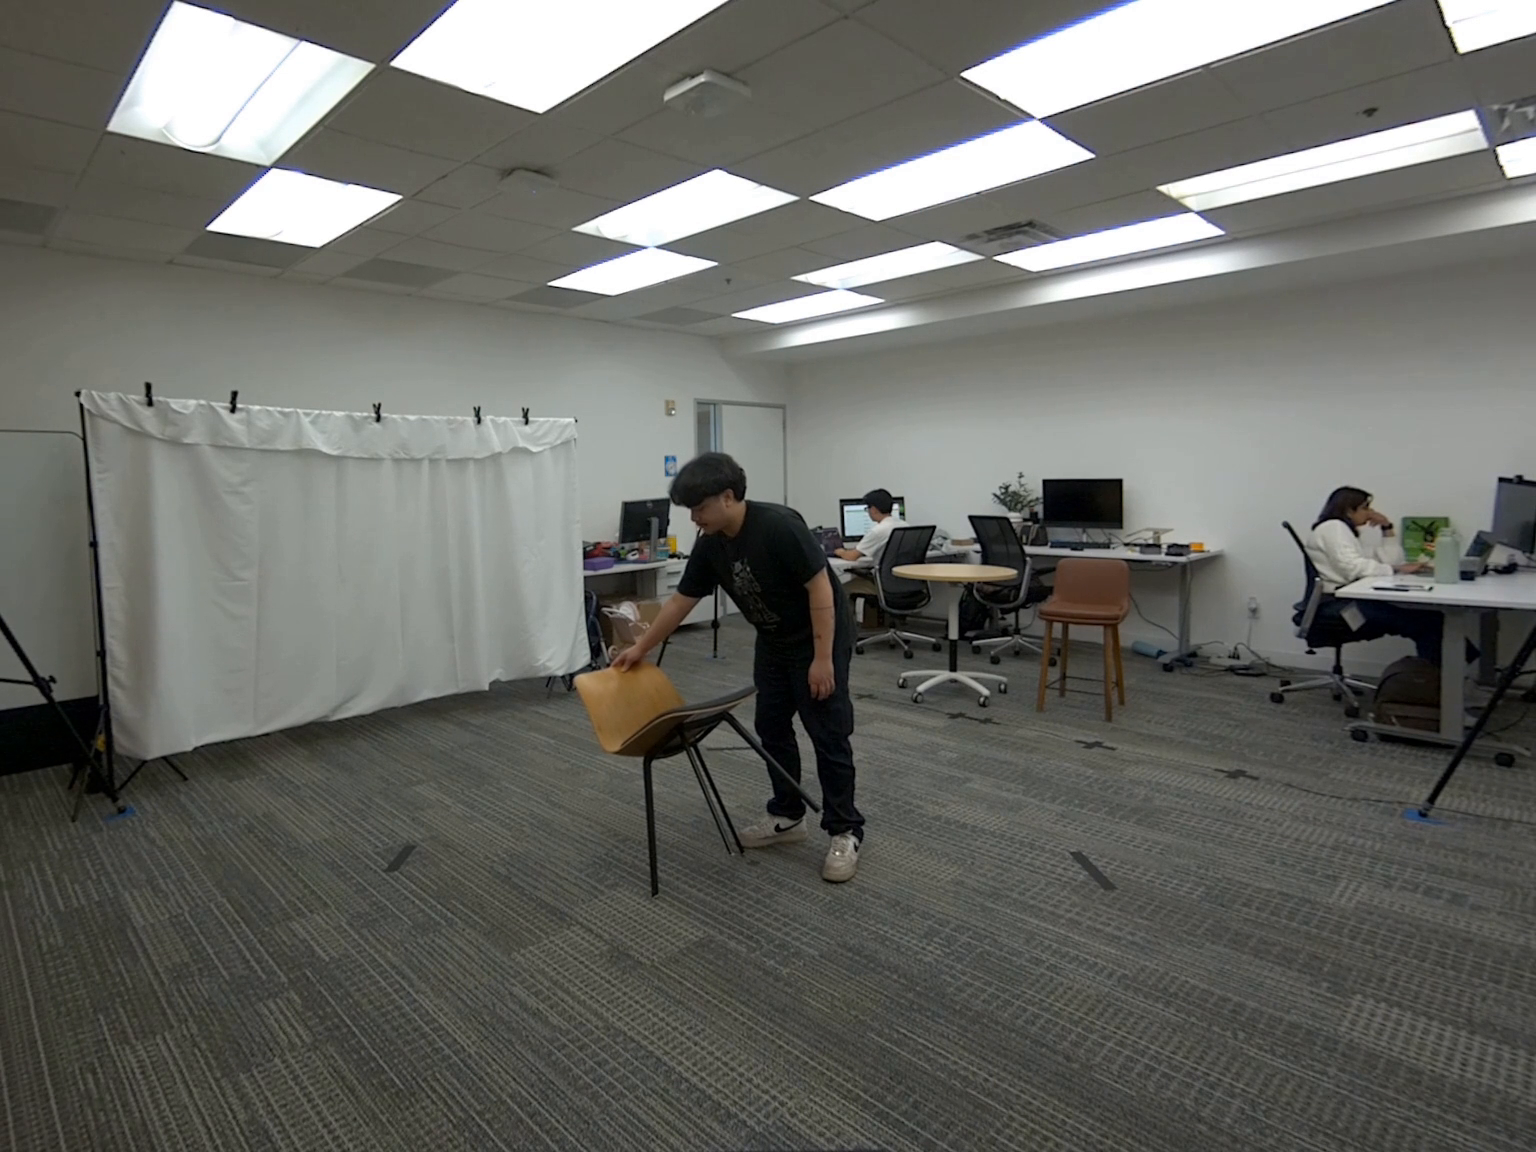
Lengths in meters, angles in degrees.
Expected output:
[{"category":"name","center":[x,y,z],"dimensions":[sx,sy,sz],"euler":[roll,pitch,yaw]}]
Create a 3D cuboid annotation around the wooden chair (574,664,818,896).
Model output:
[{"category":"wooden chair","center":[-0.286,0.573,3.020],"dimensions":[0.465,0.902,0.522],"euler":[-5,-34,-46]}]
